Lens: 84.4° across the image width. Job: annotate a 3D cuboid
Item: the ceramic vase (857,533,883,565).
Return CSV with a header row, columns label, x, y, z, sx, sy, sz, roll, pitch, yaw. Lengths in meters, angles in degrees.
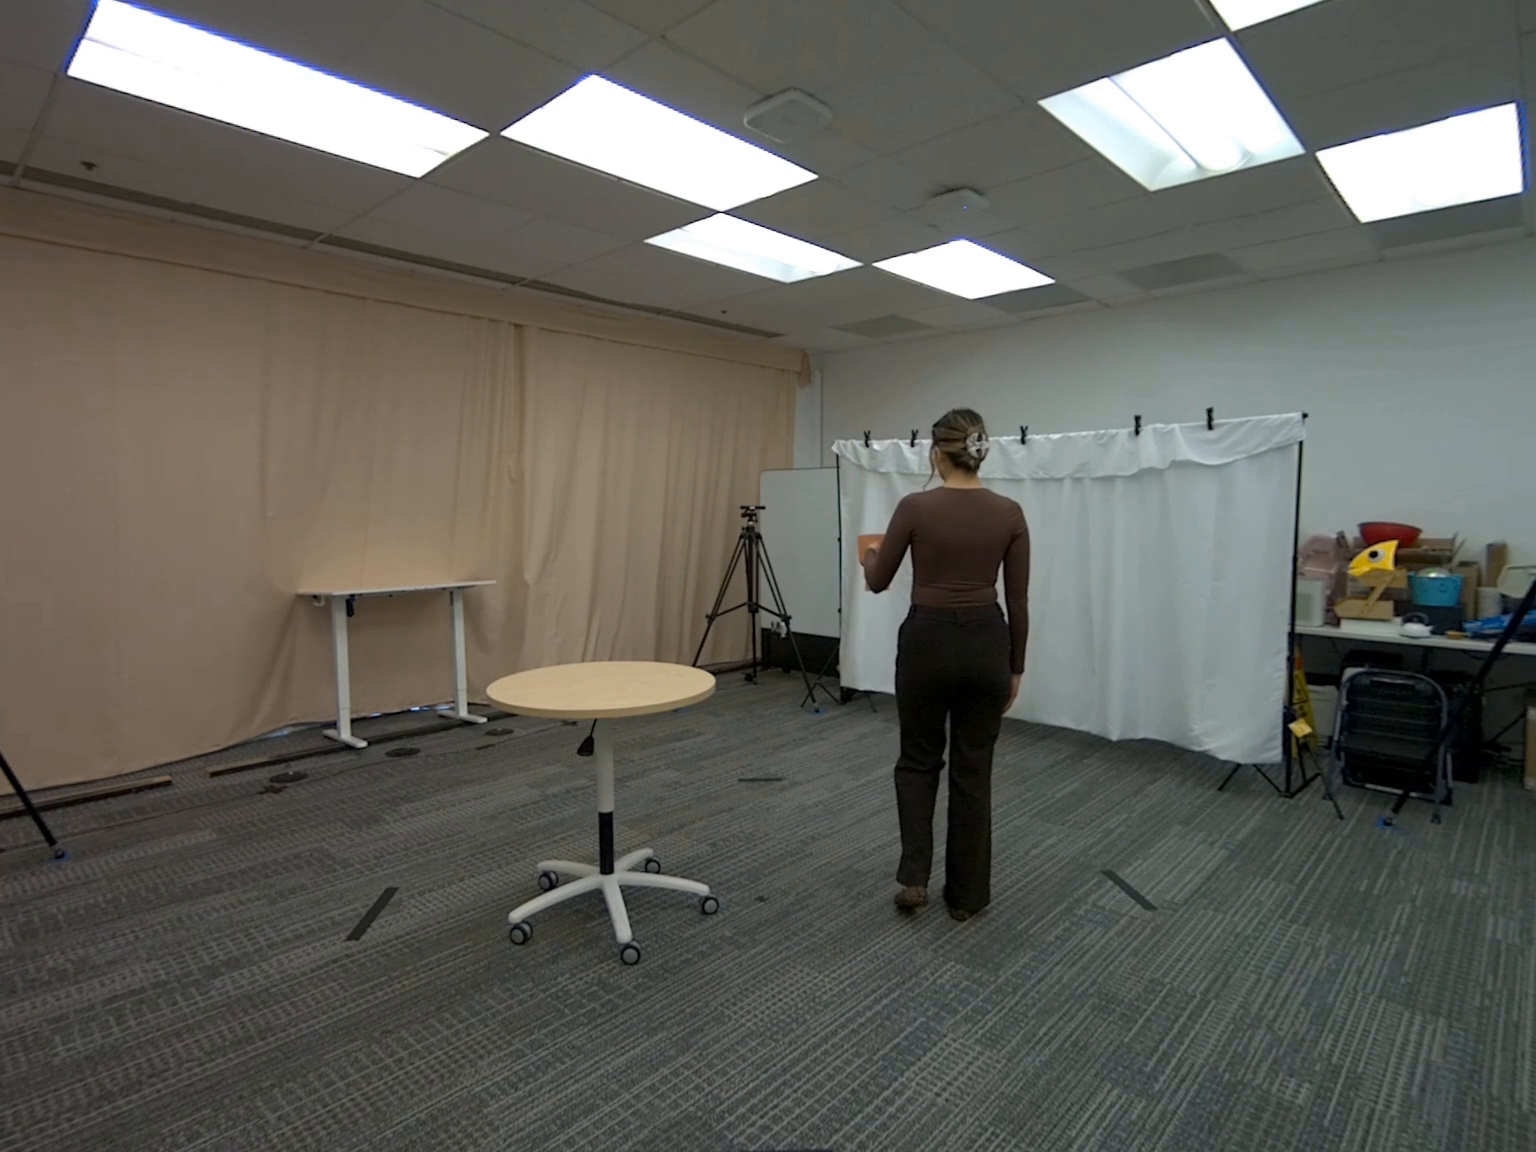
label,x,y,z,sx,sy,sz,roll,pitch,yaw
ceramic vase,0.432,-0.054,3.318,0.154,0.219,0.139,-6,4,-43
